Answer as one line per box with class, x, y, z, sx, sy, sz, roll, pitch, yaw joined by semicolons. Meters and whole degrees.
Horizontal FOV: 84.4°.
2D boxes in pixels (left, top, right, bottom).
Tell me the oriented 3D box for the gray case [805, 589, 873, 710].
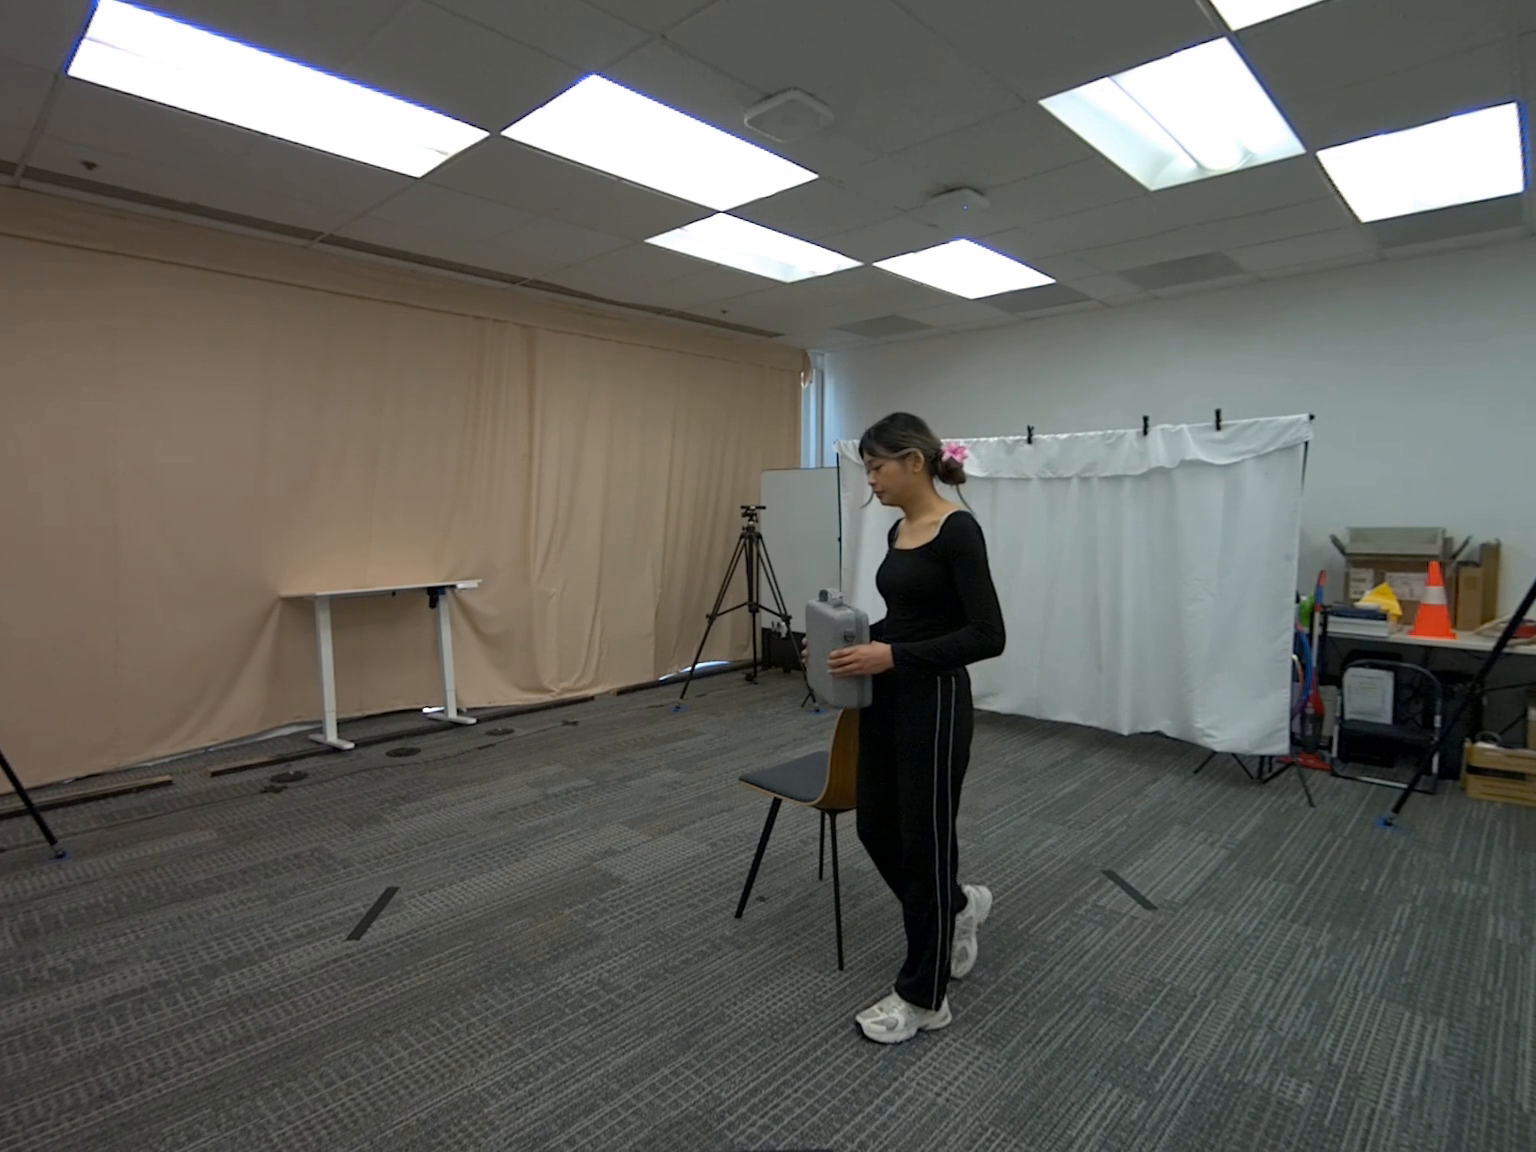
gray case;0.184;0.193;2.210;0.103;0.259;0.260;-6;7;-10
